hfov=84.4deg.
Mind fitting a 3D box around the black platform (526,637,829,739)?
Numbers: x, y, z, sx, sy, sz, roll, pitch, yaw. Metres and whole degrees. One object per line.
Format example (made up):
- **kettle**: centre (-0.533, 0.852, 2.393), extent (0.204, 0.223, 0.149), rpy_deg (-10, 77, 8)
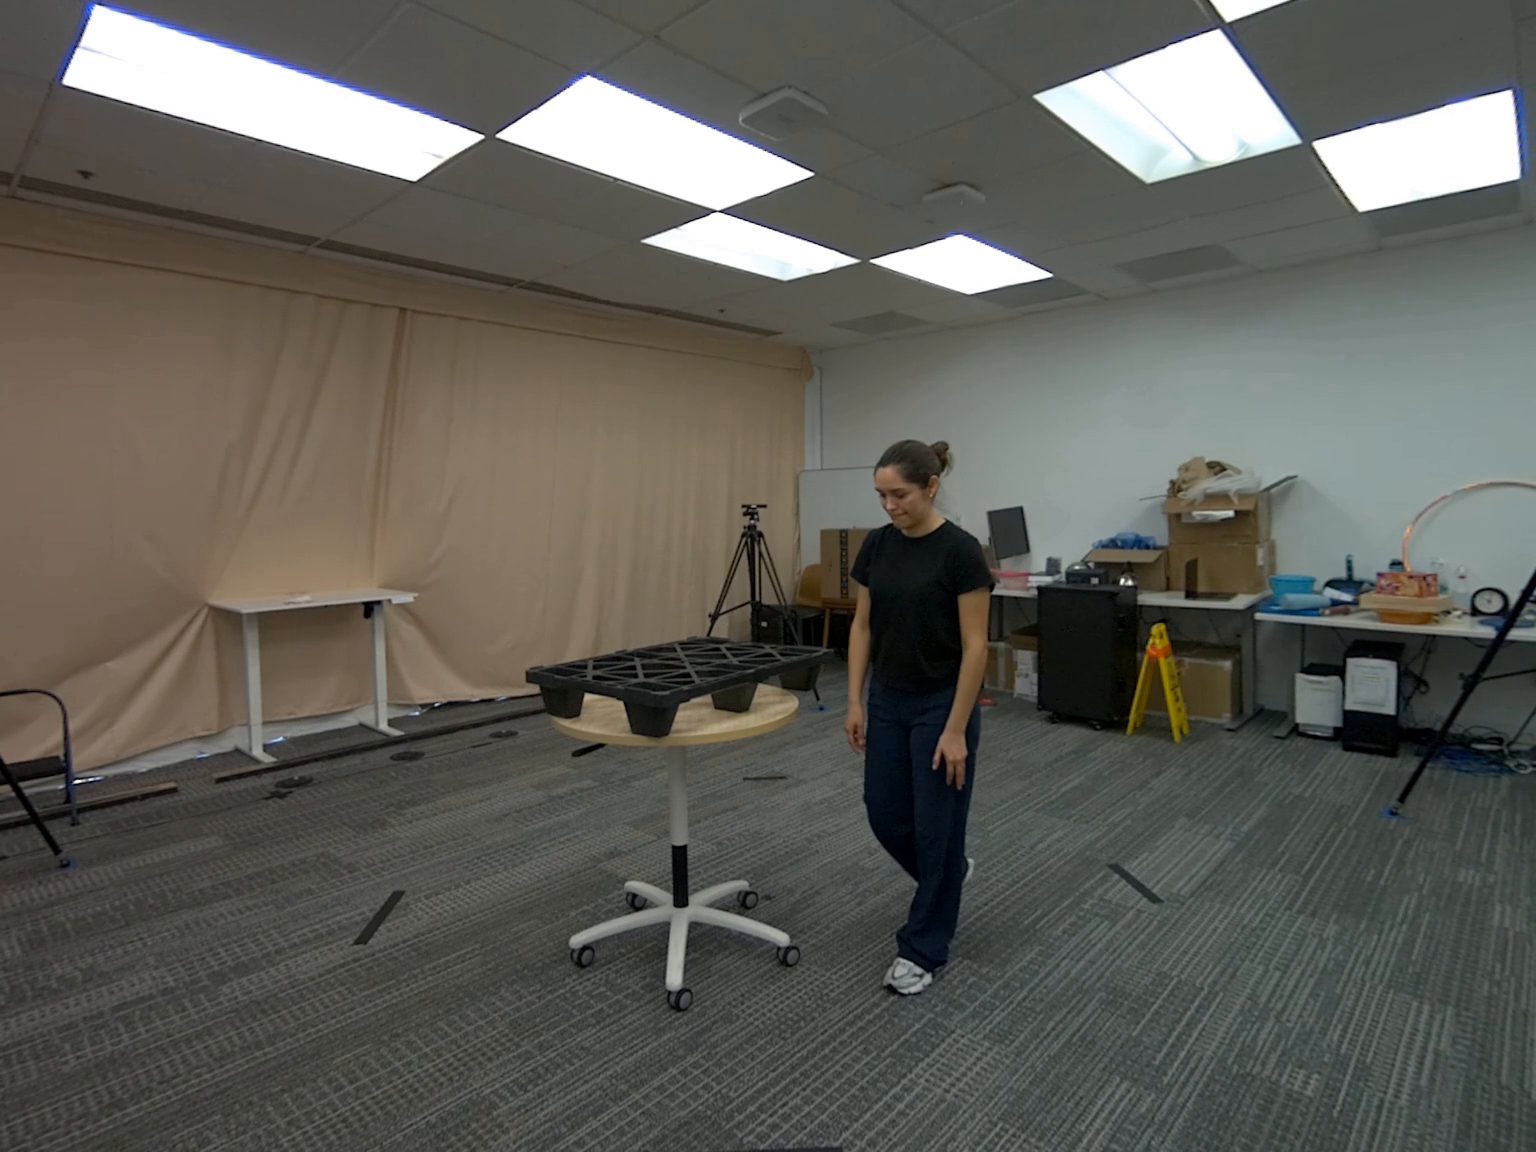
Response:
- **black platform**: centre (-0.248, 0.330, 2.638), extent (0.625, 0.143, 0.781), rpy_deg (2, 5, 39)
